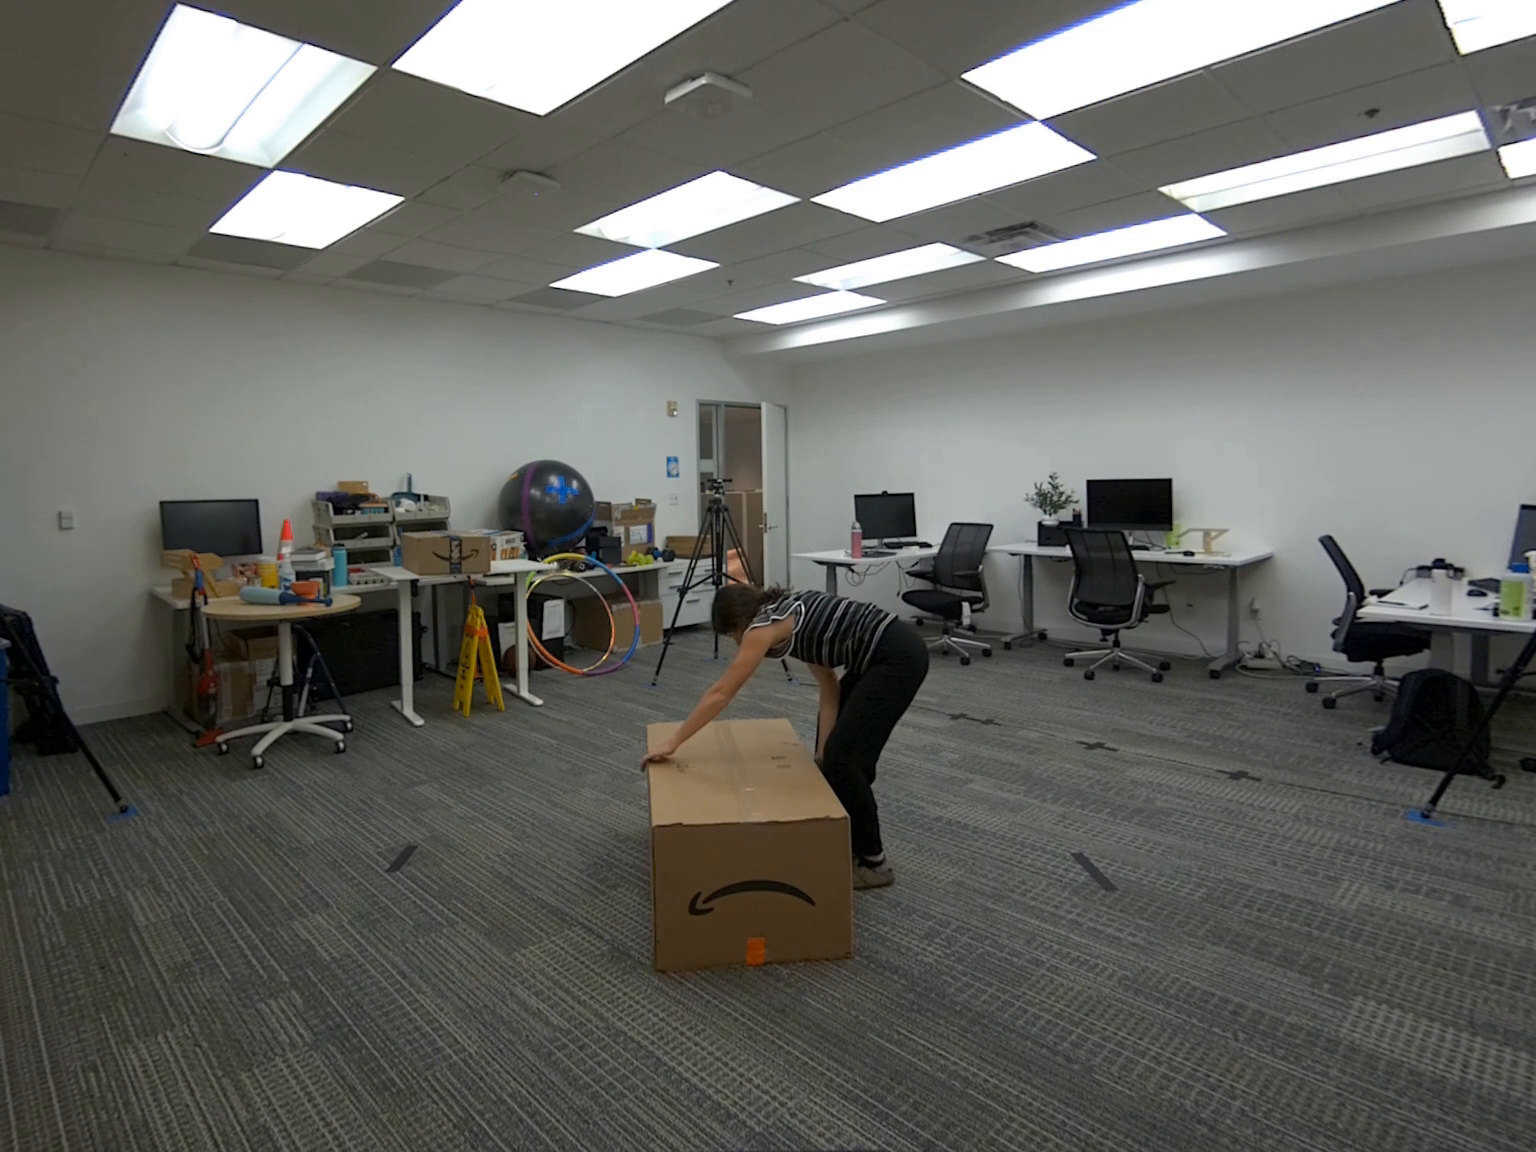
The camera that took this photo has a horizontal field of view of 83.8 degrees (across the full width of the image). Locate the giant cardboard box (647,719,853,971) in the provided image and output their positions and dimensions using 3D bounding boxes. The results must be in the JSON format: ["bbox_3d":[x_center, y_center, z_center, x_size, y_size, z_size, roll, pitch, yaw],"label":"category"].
[{"bbox_3d":[-0.121,0.851,2.947,0.574,0.424,1.038,-2,6,-8],"label":"giant cardboard box"}]
